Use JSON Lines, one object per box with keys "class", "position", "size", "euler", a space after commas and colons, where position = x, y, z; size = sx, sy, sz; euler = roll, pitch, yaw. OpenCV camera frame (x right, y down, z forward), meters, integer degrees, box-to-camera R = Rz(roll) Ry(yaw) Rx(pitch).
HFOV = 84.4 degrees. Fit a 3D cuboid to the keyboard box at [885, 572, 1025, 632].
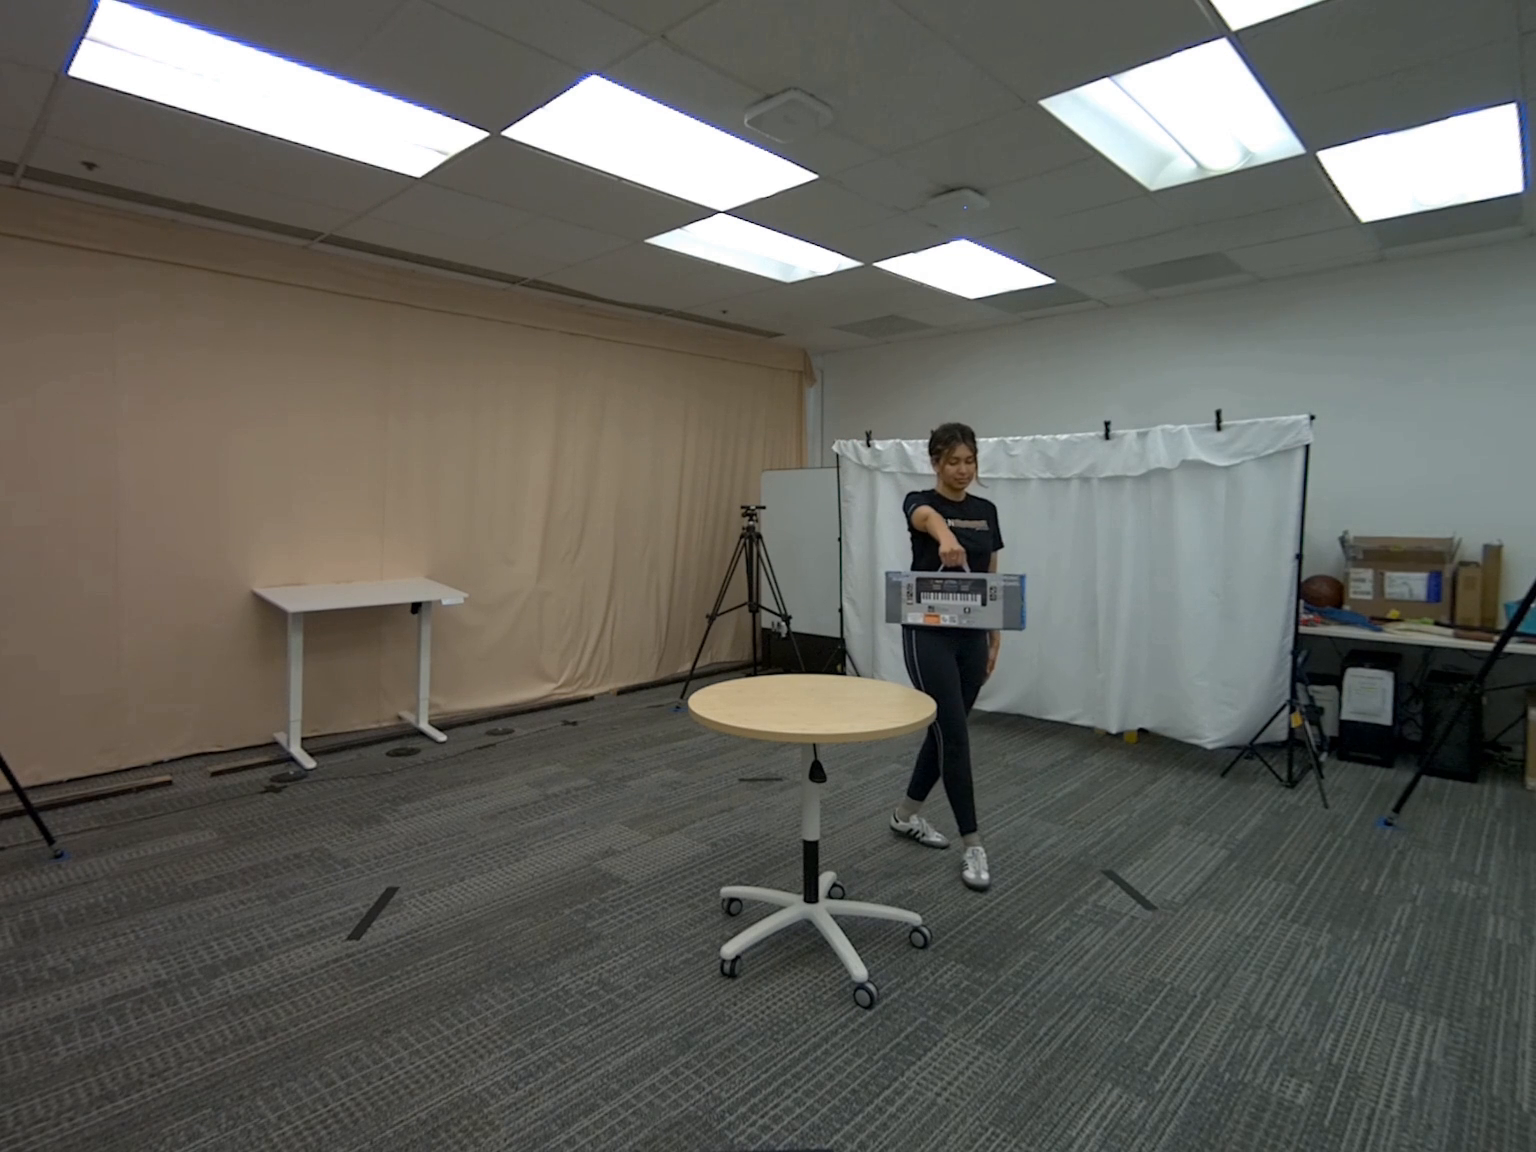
{"class": "keyboard box", "position": [0.602, 0.076, 2.684], "size": [0.449, 0.176, 0.057], "euler": [1, 2, 31]}
